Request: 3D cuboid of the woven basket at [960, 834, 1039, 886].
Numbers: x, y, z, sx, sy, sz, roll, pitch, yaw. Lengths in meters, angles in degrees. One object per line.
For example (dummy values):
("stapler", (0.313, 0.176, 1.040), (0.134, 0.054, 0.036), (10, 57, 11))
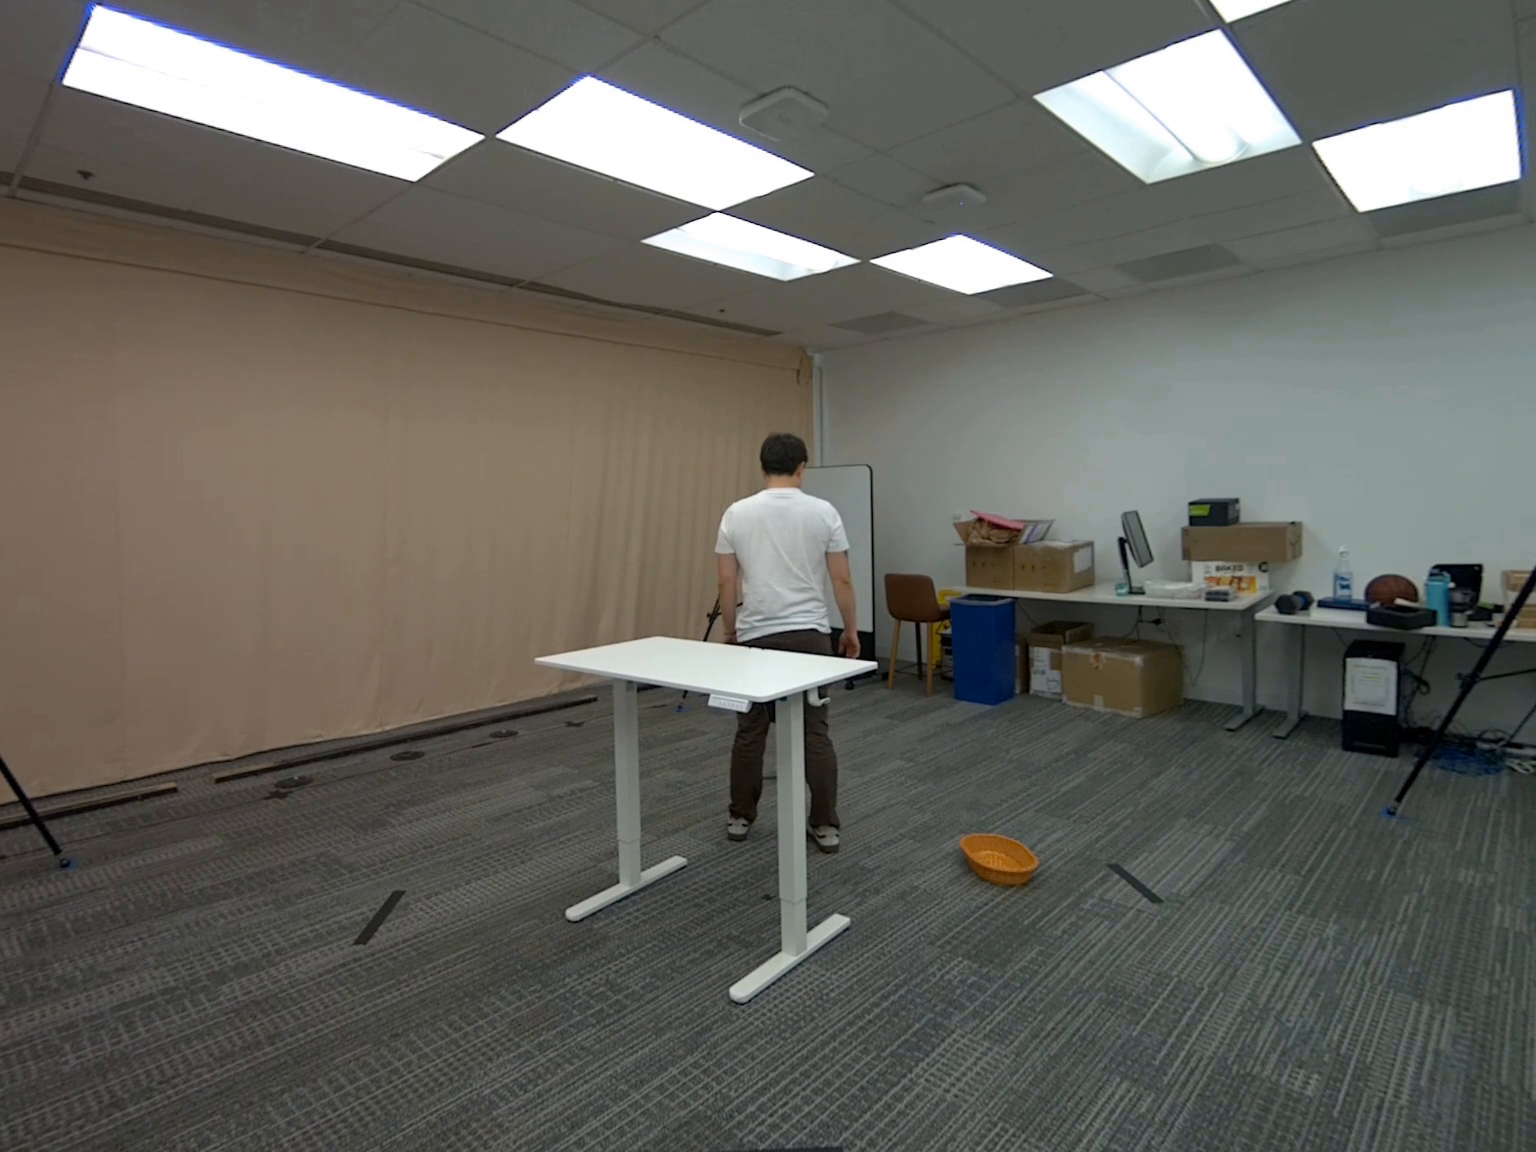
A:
("woven basket", (0.869, 1.070, 3.176), (0.252, 0.073, 0.351), (0, 4, -2))
